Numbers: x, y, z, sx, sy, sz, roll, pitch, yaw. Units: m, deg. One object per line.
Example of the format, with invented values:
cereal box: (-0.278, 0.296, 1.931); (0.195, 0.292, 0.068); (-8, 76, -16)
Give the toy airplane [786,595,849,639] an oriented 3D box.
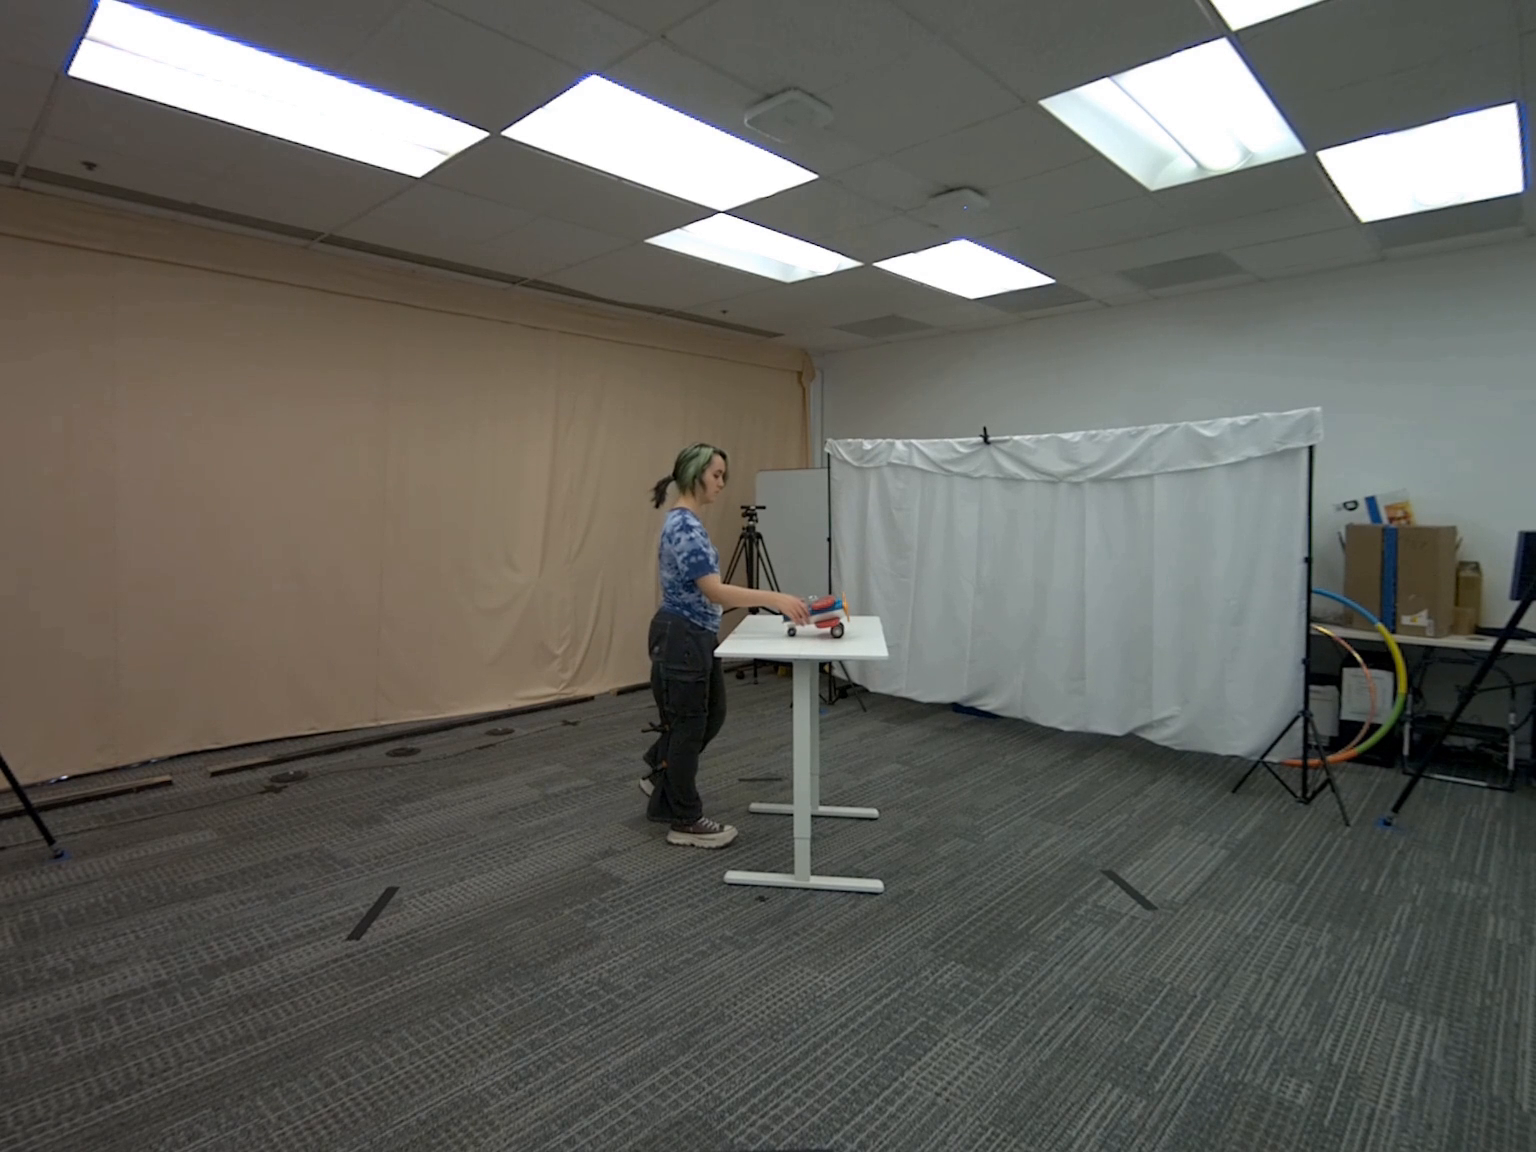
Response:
toy airplane: (0.186, 0.159, 3.268); (0.254, 0.156, 0.257); (-1, 5, -22)
